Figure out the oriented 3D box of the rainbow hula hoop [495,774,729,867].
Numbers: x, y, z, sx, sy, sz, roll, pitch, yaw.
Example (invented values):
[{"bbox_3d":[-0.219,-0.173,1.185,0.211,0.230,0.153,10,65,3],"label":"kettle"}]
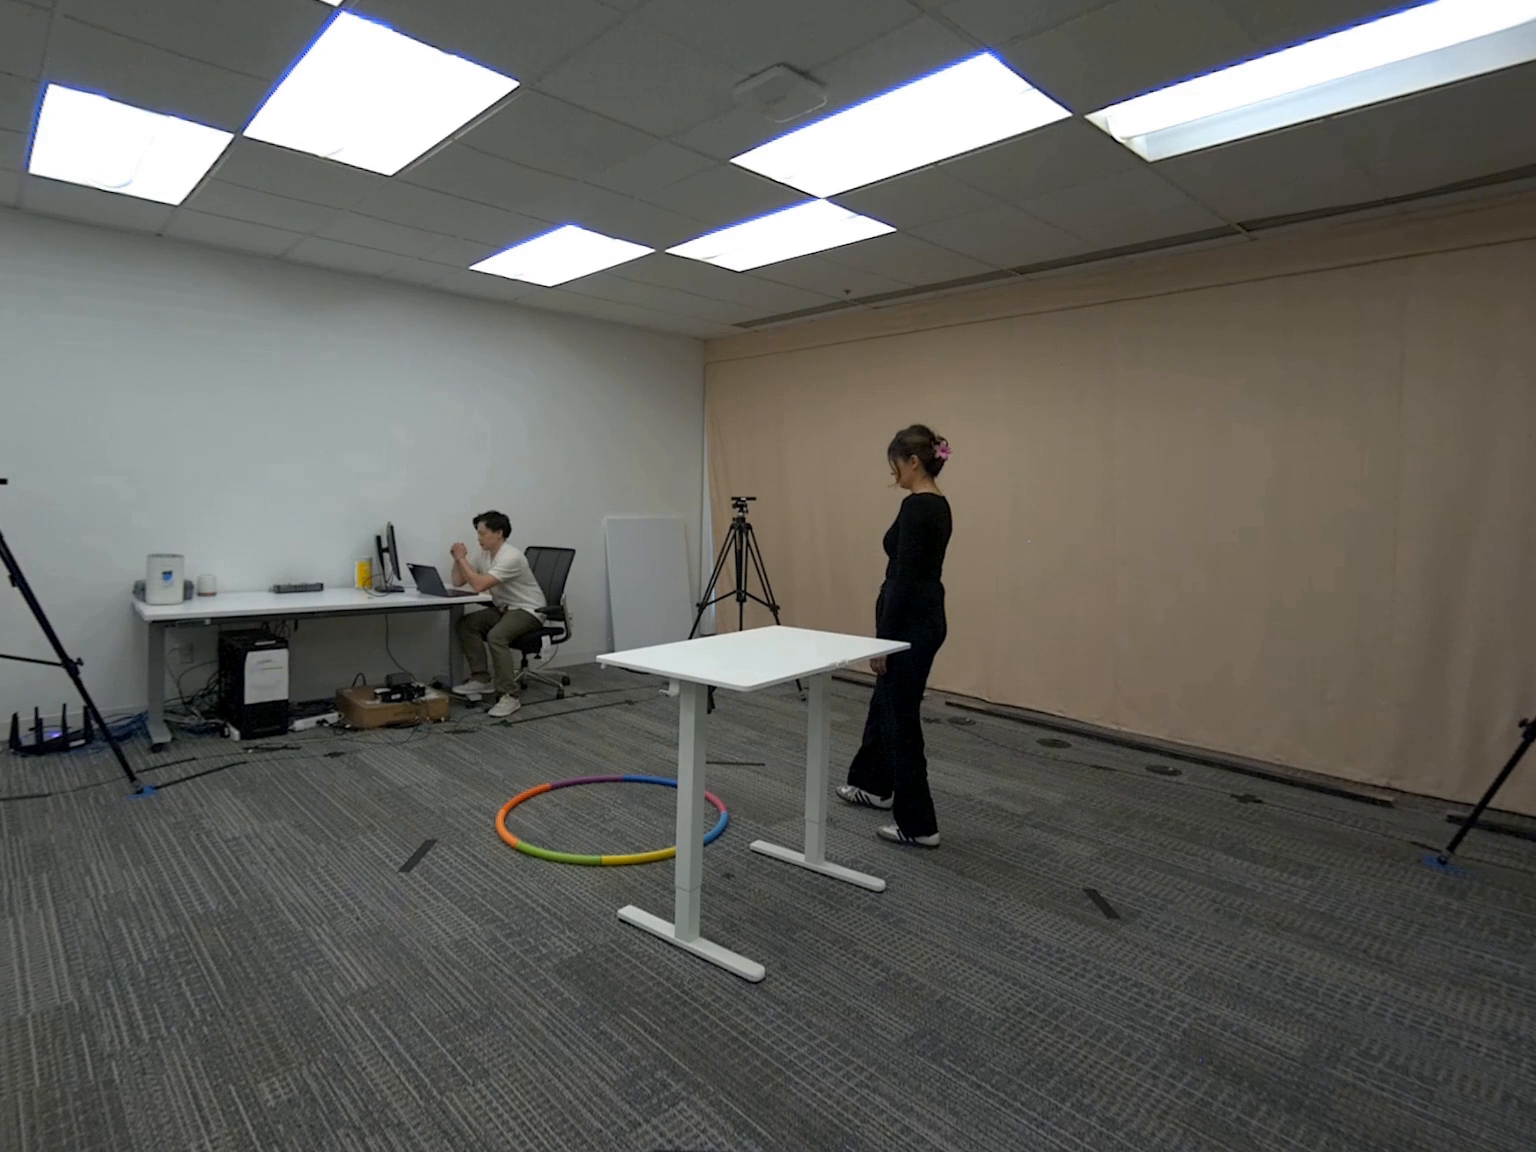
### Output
[{"bbox_3d":[-0.672,1.019,3.637,0.978,0.035,0.982,2,5,-1],"label":"rainbow hula hoop"}]
